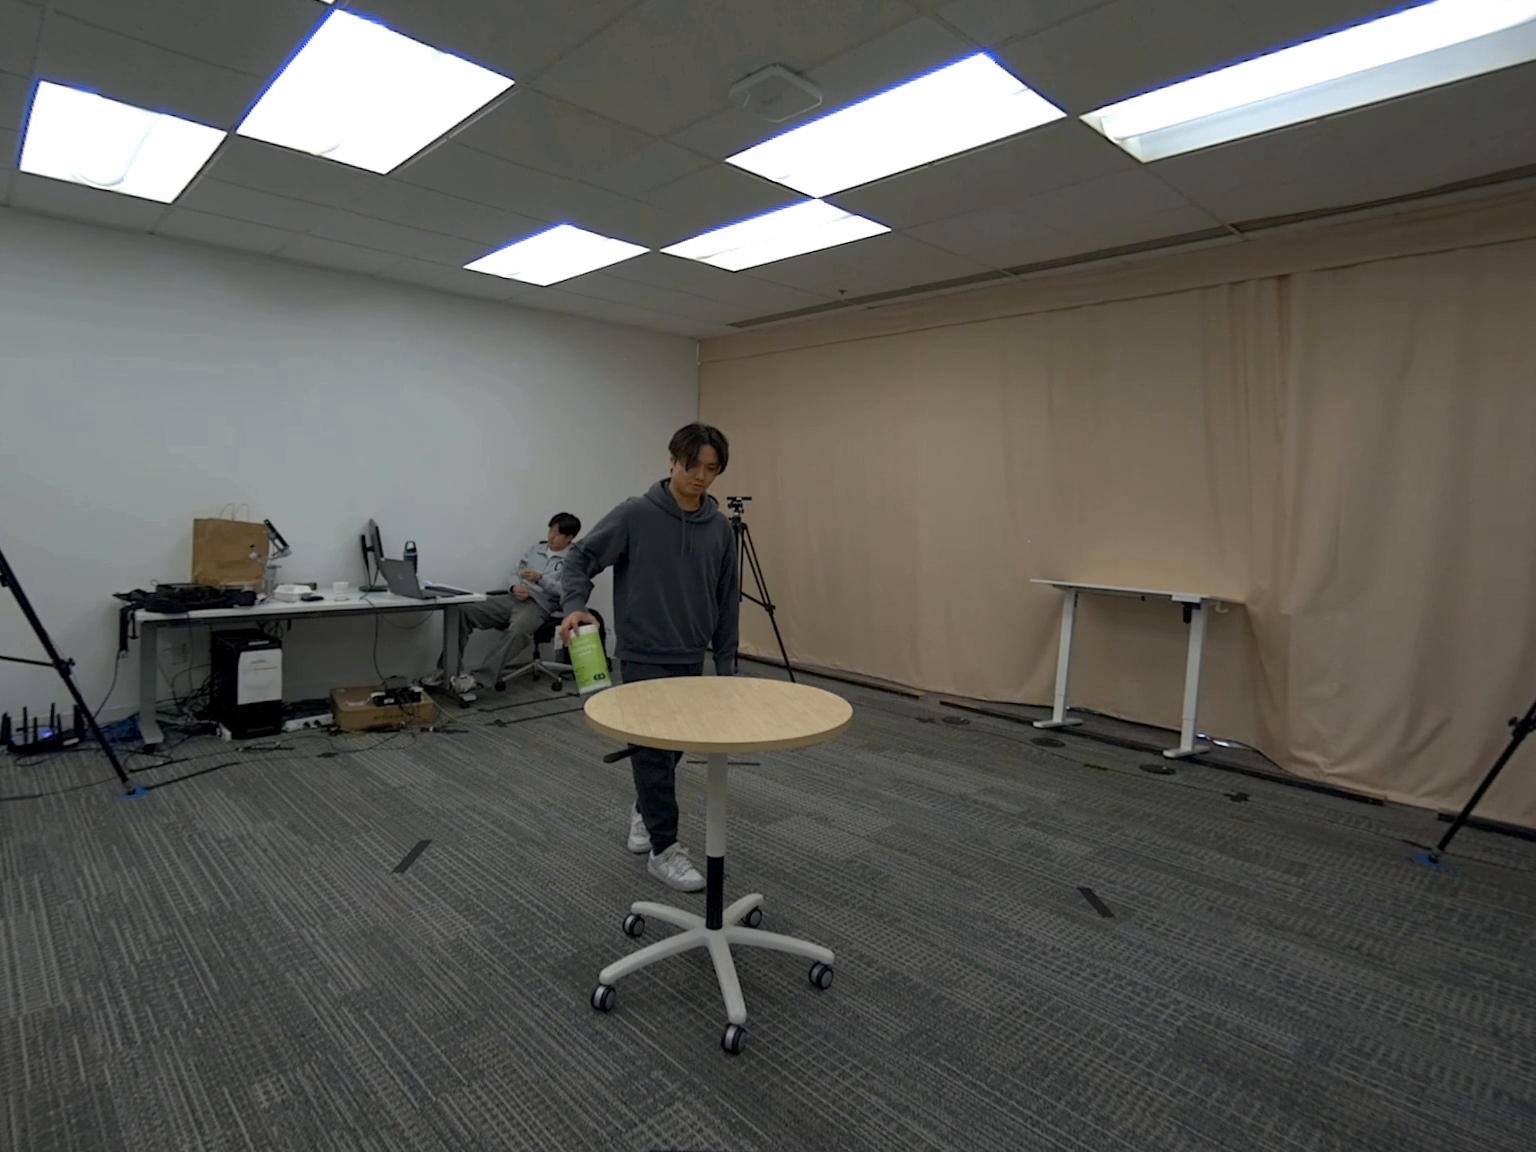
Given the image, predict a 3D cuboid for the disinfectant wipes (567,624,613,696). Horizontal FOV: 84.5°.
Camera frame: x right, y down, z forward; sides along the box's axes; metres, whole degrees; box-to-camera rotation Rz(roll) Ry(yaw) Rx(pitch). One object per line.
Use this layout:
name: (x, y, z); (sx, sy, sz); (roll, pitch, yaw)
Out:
disinfectant wipes: (-0.599, 0.280, 2.797); (0.117, 0.219, 0.117); (-14, -8, -3)
